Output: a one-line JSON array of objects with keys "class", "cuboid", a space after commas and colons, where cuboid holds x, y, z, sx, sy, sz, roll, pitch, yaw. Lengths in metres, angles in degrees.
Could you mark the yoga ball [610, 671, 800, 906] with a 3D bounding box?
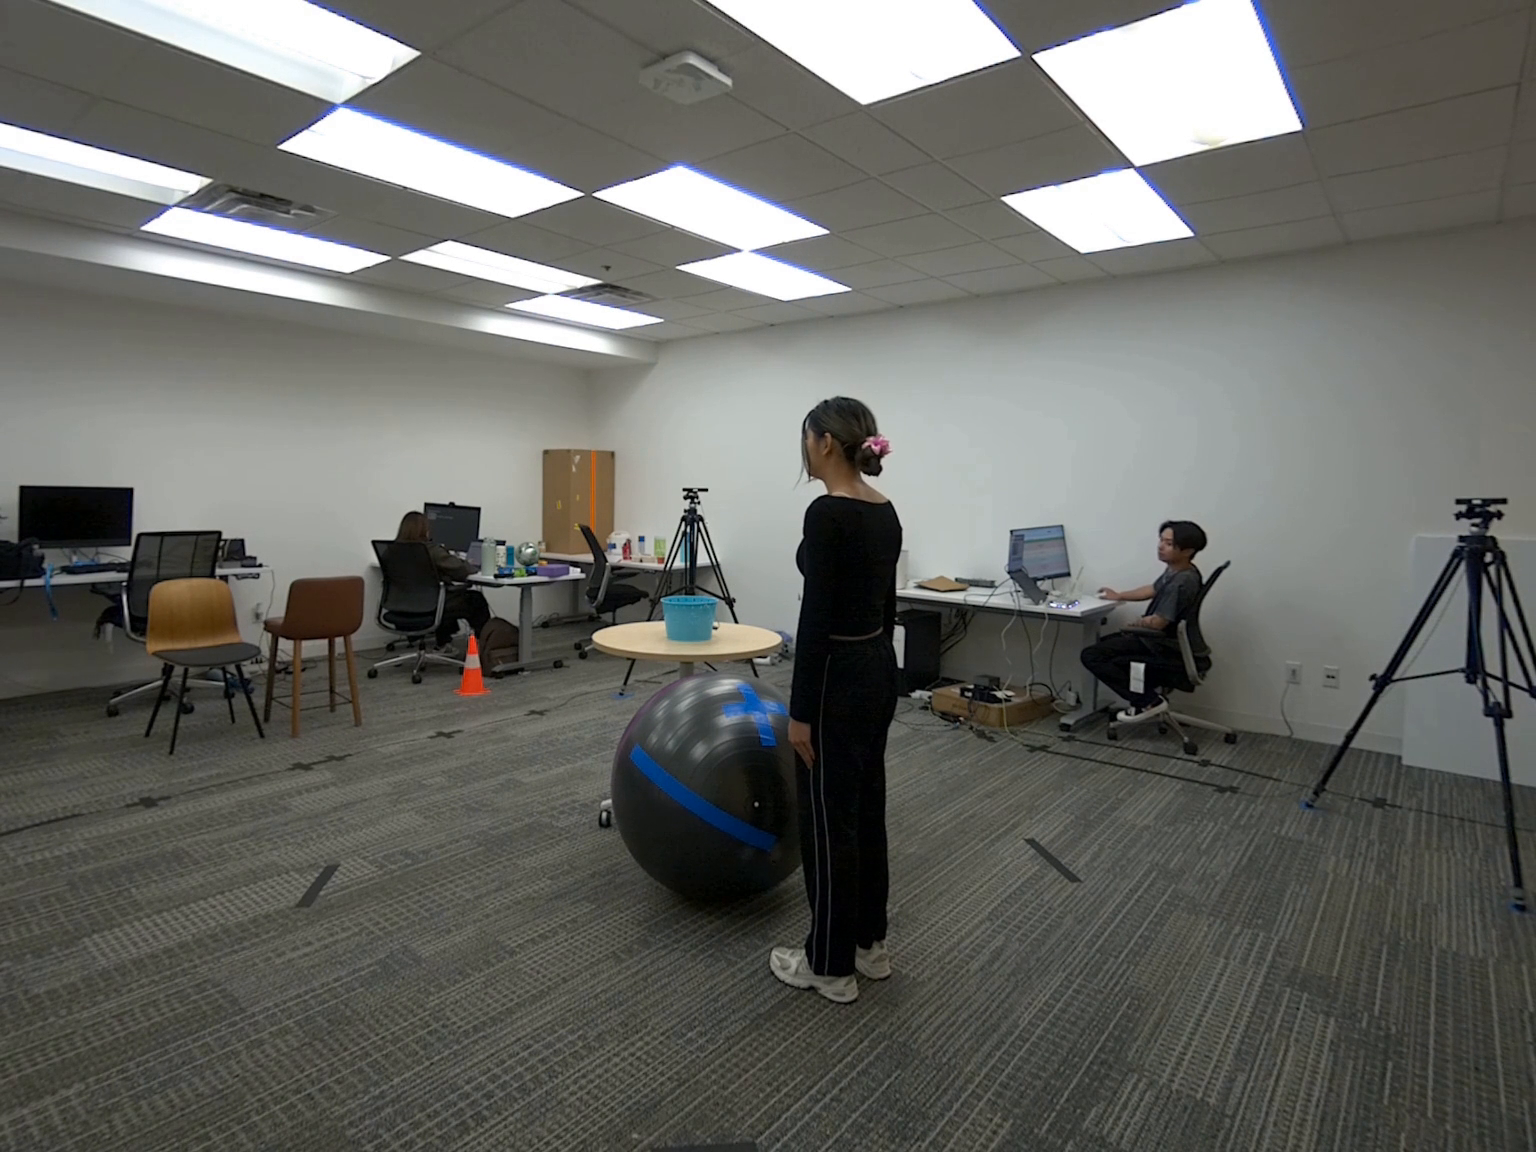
[{"class": "yoga ball", "cuboid": [-0.171, 0.723, 2.935, 0.757, 0.756, 0.762, 1, 4, -2]}]
